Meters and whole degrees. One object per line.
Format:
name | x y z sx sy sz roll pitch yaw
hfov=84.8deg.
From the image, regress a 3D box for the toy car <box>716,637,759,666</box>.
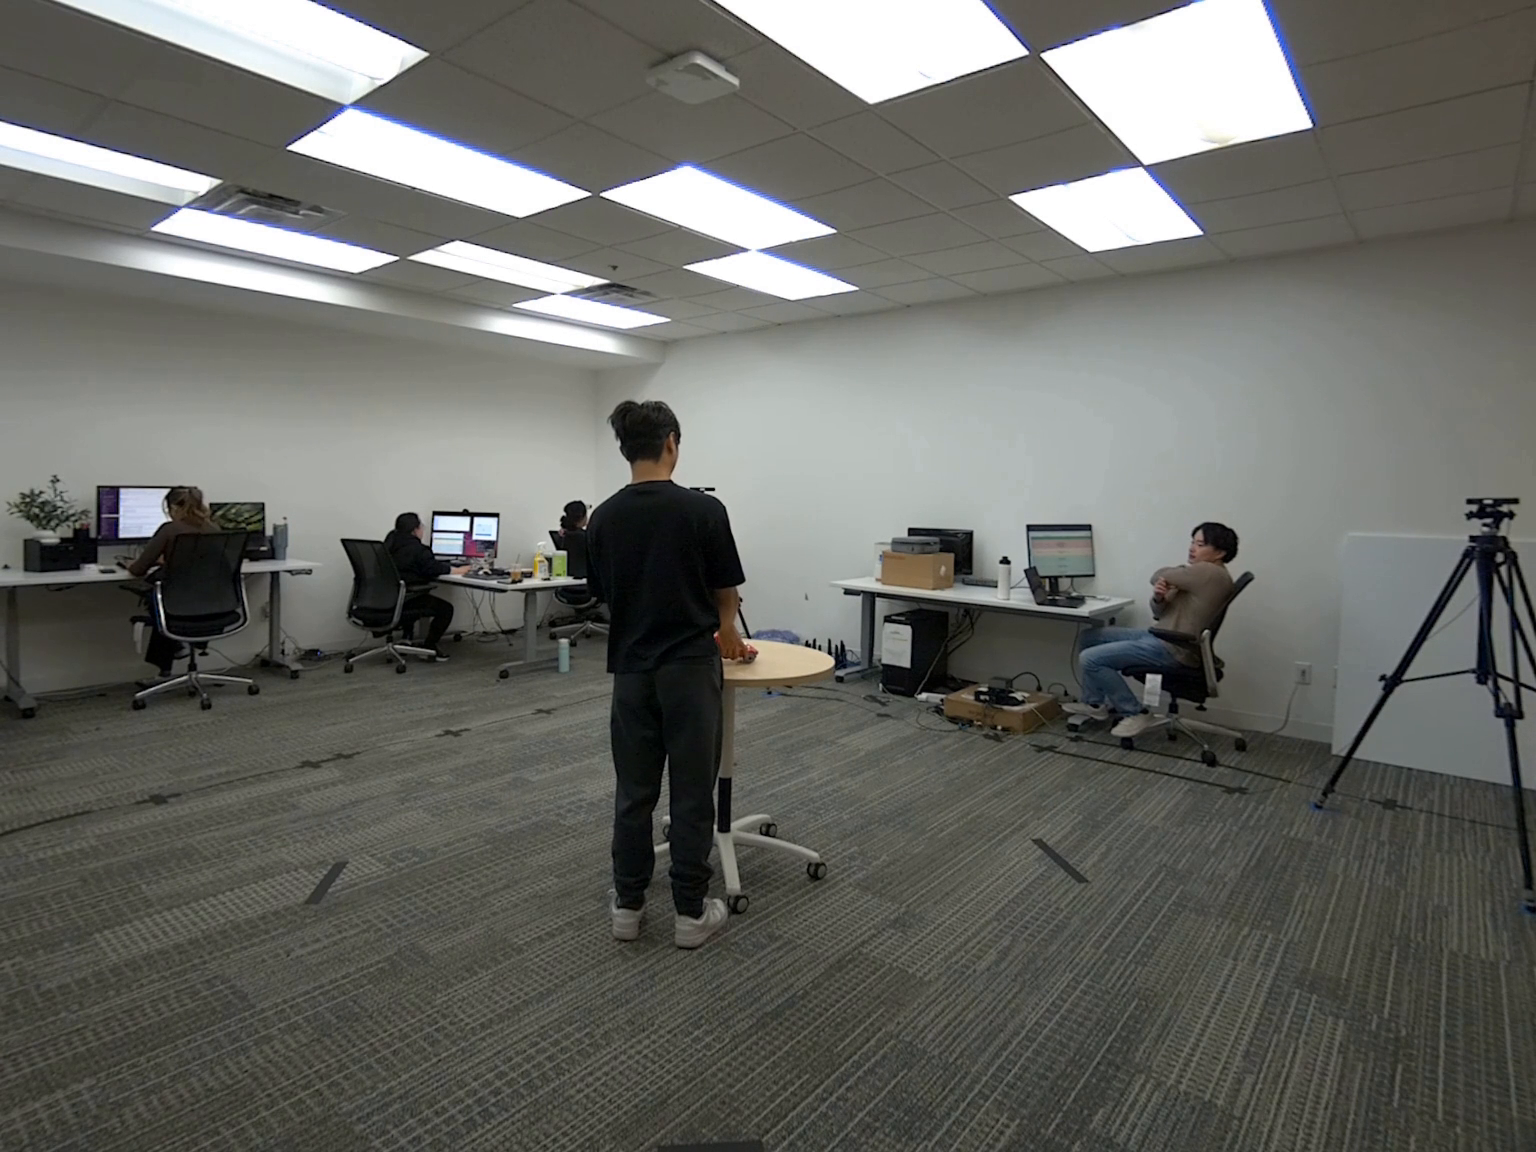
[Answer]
toy car | -0.175 0.242 2.973 0.250 0.083 0.133 23 0 -15
